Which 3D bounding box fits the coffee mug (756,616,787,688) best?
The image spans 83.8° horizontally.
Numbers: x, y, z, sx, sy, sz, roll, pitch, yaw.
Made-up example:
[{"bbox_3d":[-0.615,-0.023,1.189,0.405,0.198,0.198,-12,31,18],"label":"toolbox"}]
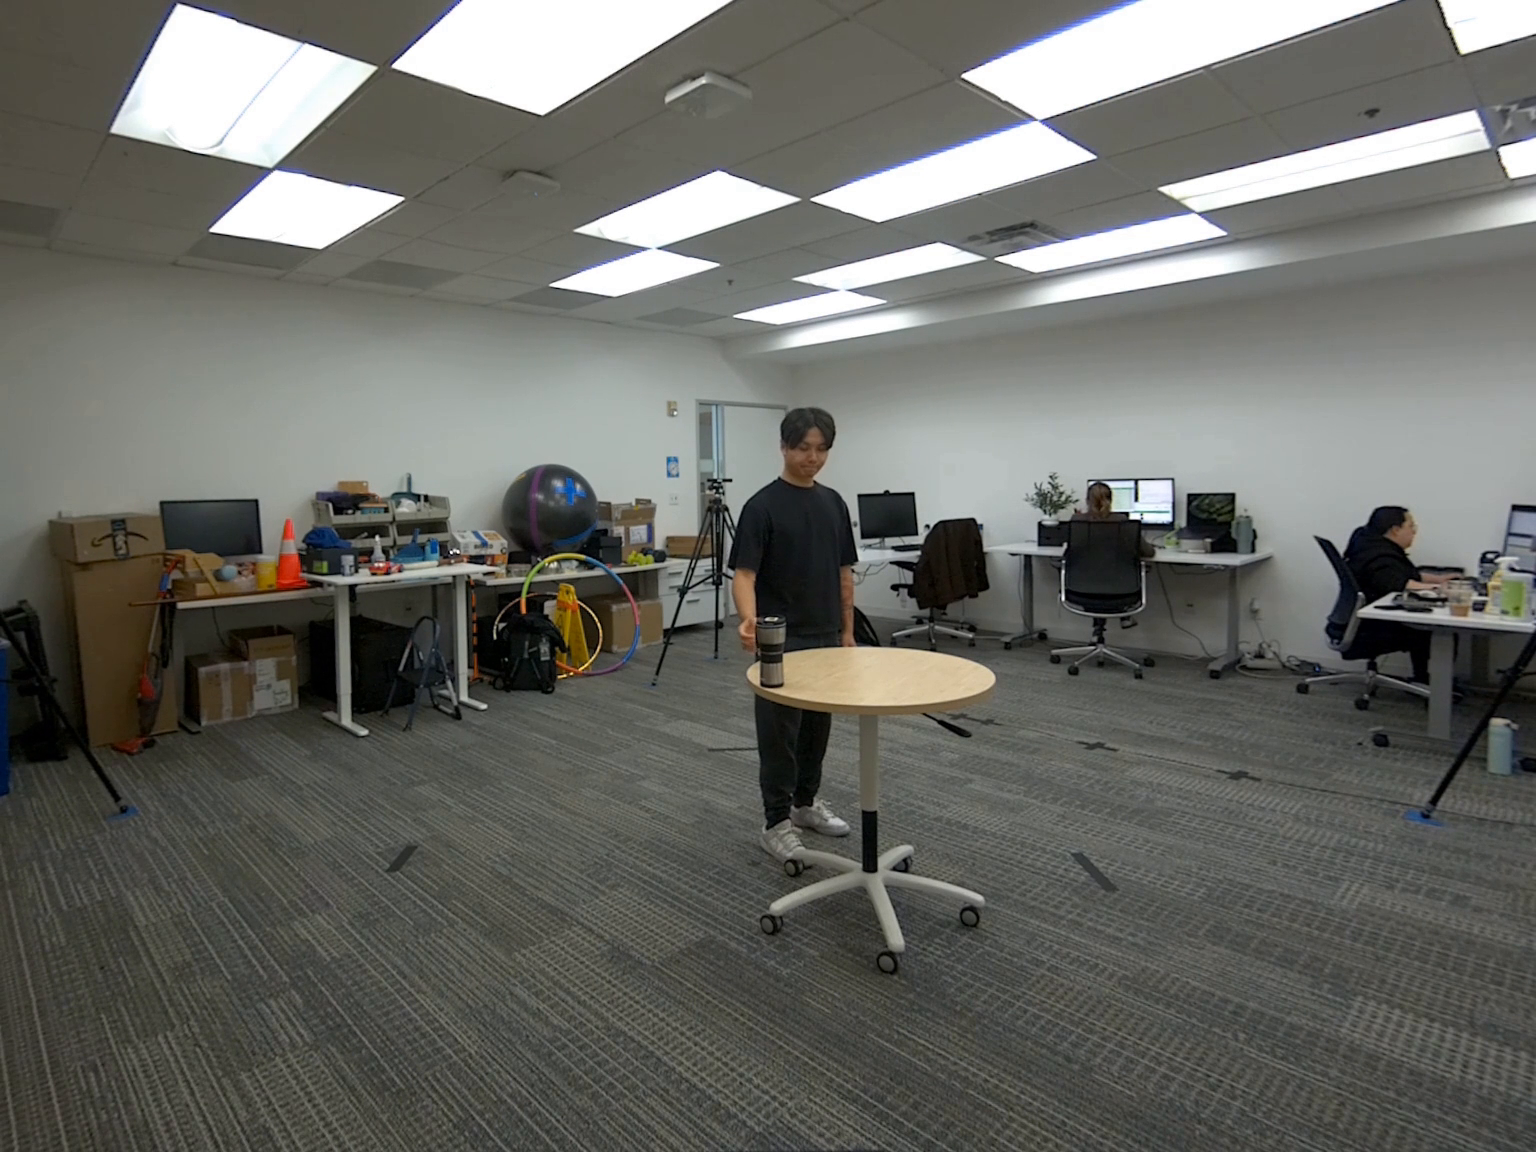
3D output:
[{"bbox_3d":[0.023,0.228,2.557,0.090,0.202,0.119,-2,5,41],"label":"coffee mug"}]
